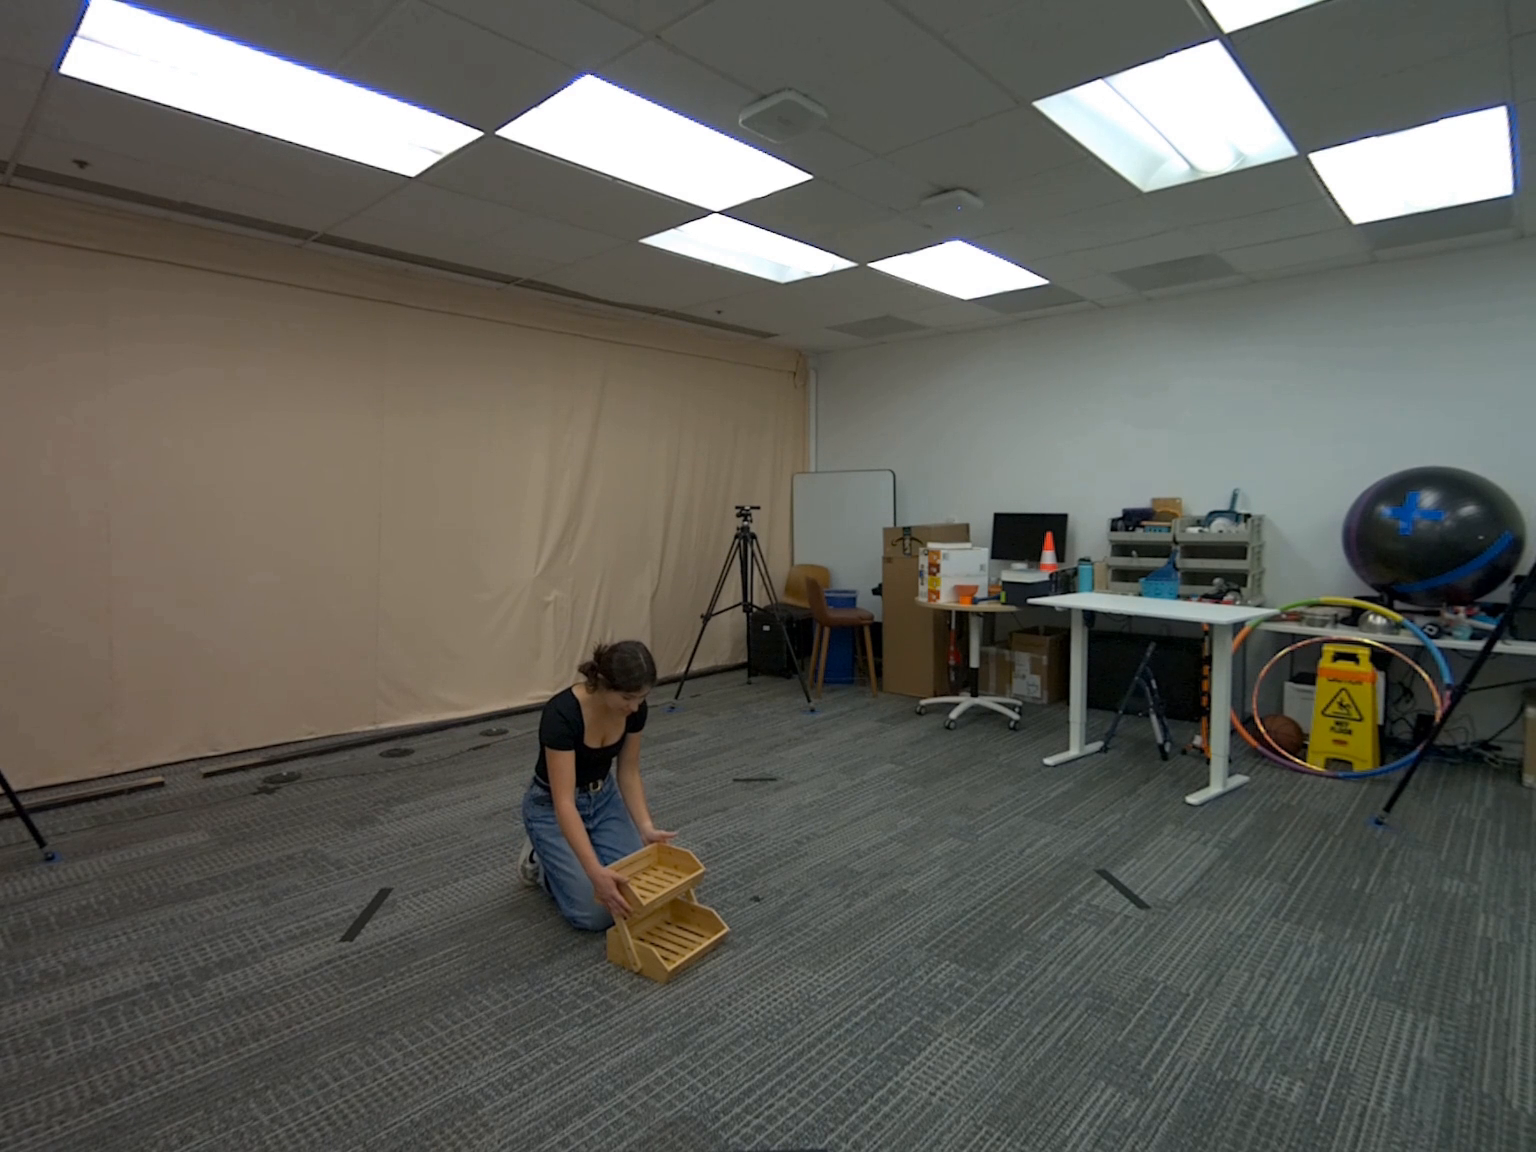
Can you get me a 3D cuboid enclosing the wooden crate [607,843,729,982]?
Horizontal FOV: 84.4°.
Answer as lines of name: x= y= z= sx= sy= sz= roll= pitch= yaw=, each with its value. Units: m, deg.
wooden crate: x=-0.327 y=1.044 z=2.637 sx=0.311 sy=0.273 sz=0.315 roll=2 pitch=4 yaw=35
